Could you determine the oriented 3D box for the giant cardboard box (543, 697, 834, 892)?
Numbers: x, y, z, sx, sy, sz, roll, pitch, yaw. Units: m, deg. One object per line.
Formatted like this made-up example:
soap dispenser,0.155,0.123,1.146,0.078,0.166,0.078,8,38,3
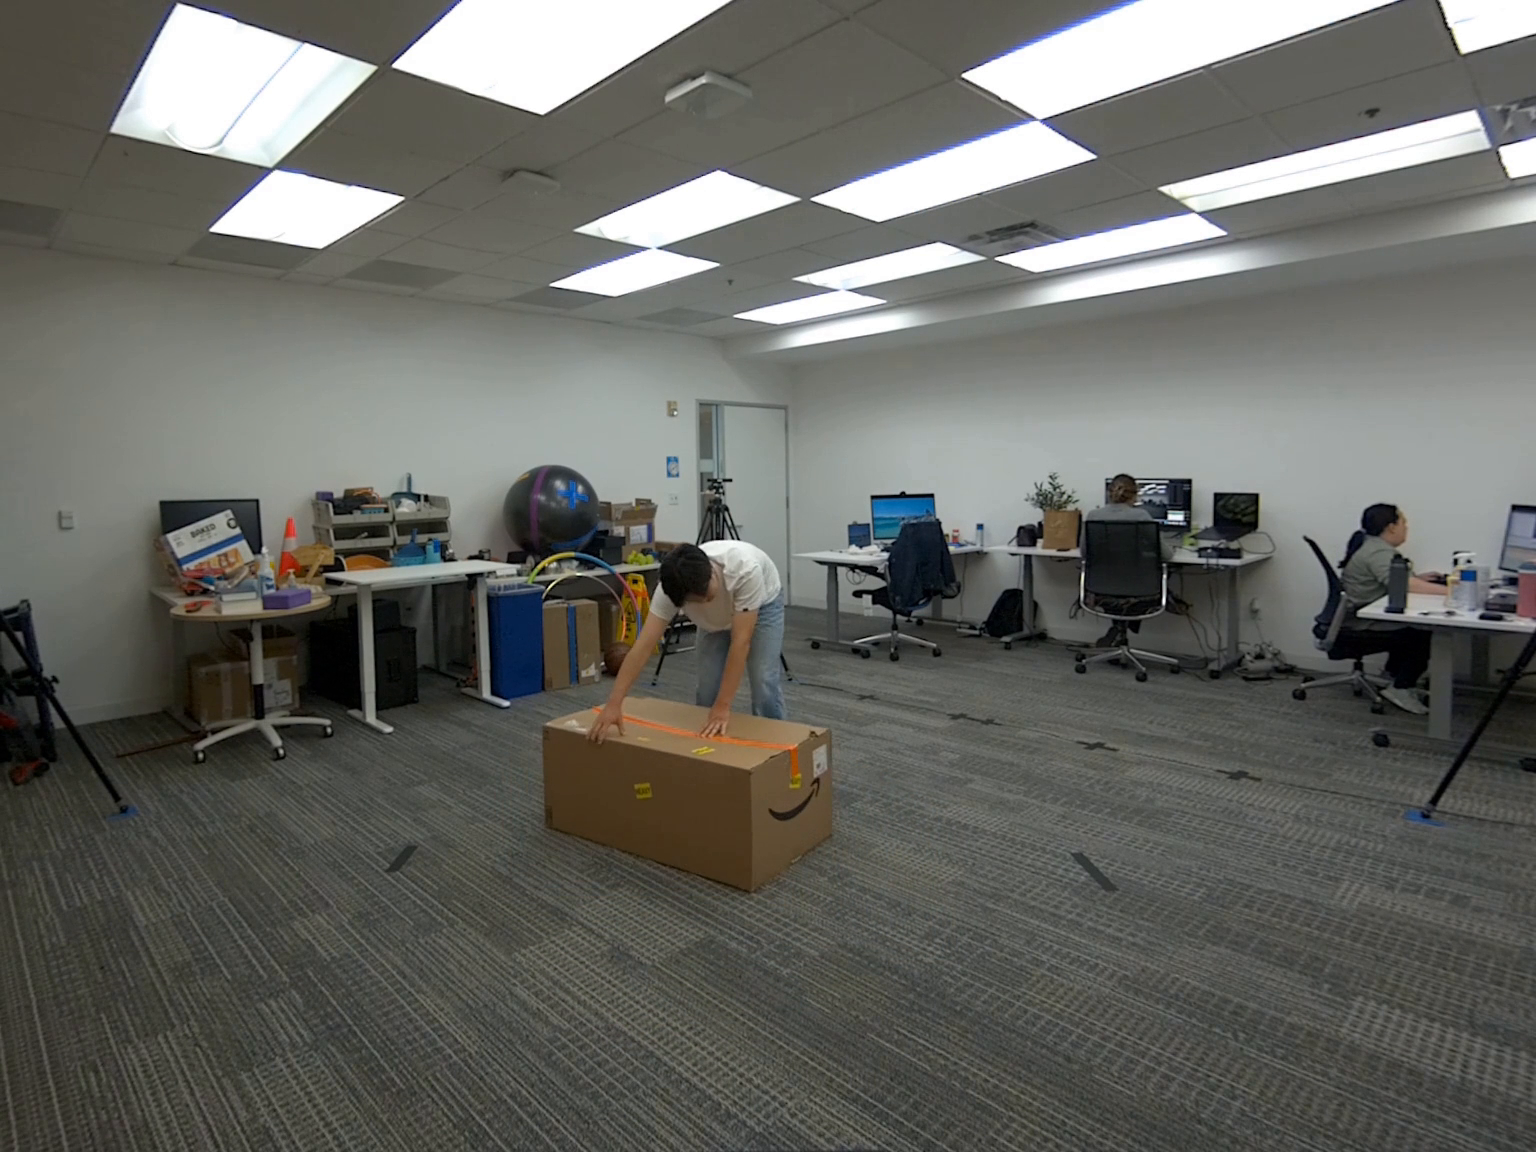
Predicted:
giant cardboard box,-0.332,0.807,3.391,1.055,0.424,0.564,3,7,34
